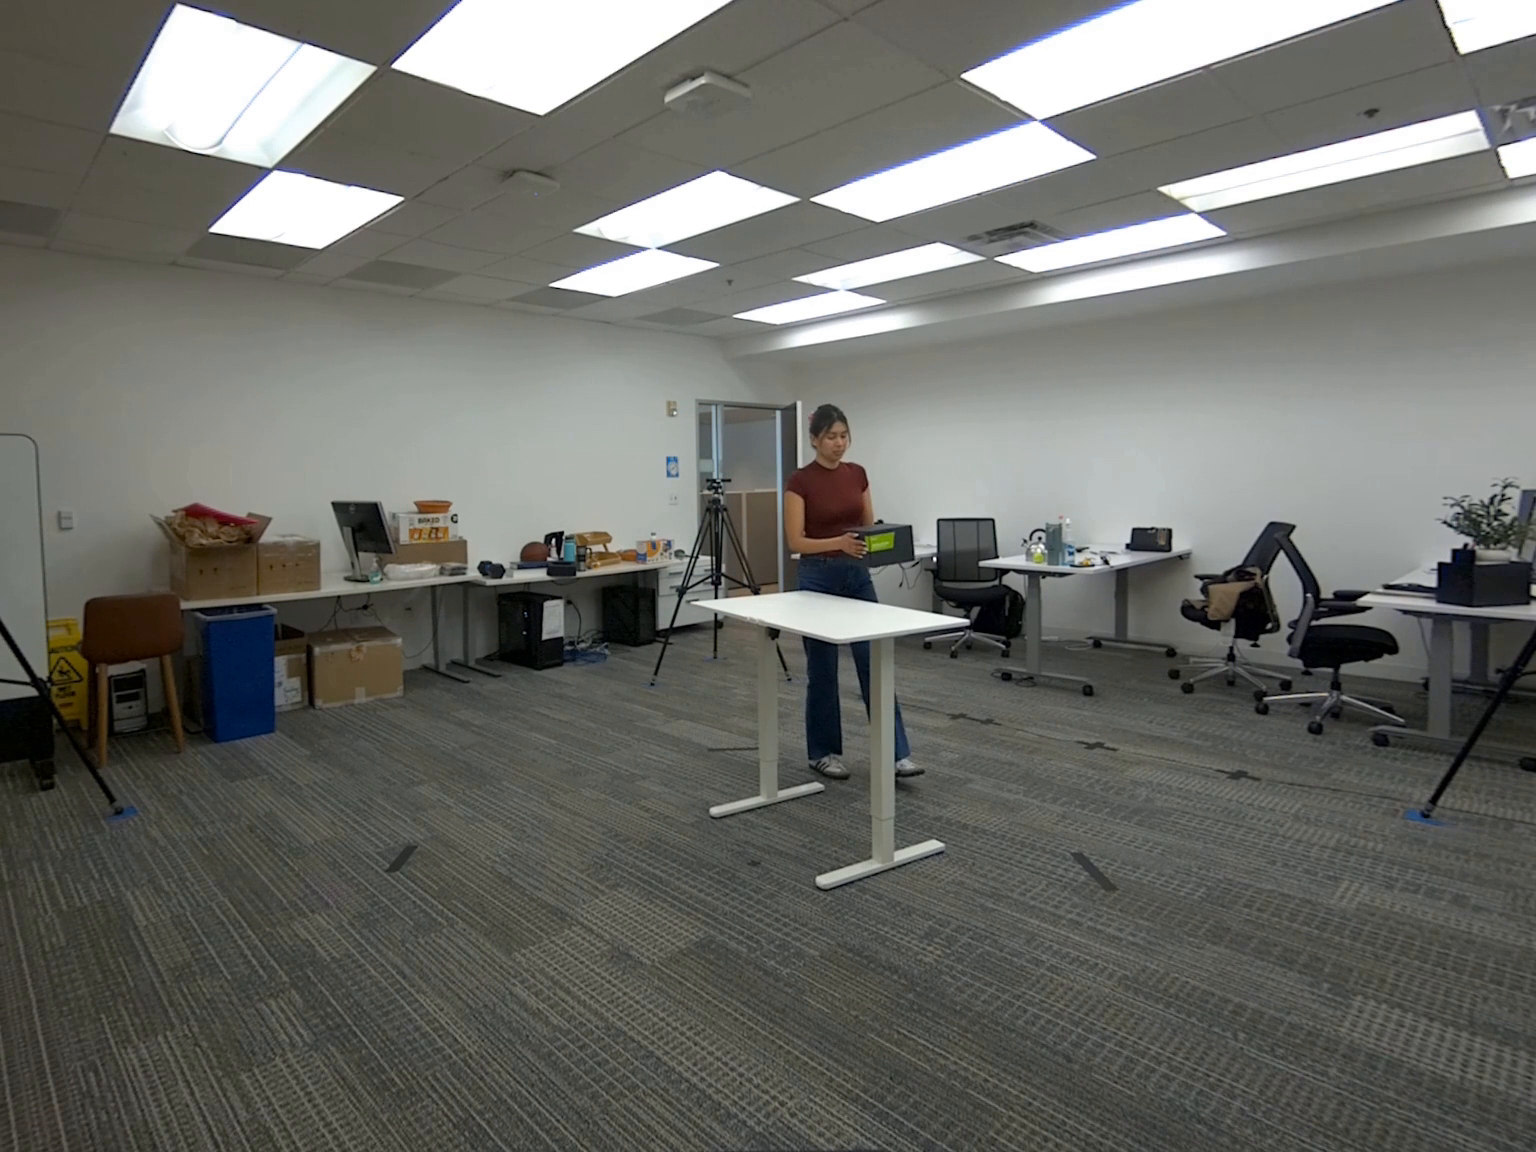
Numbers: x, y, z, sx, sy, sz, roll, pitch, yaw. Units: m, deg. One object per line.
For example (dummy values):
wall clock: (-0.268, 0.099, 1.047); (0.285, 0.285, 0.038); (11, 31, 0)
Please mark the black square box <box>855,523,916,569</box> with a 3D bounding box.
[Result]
black square box: (0.514, -0.135, 3.704); (0.224, 0.155, 0.222); (-9, 8, -20)
